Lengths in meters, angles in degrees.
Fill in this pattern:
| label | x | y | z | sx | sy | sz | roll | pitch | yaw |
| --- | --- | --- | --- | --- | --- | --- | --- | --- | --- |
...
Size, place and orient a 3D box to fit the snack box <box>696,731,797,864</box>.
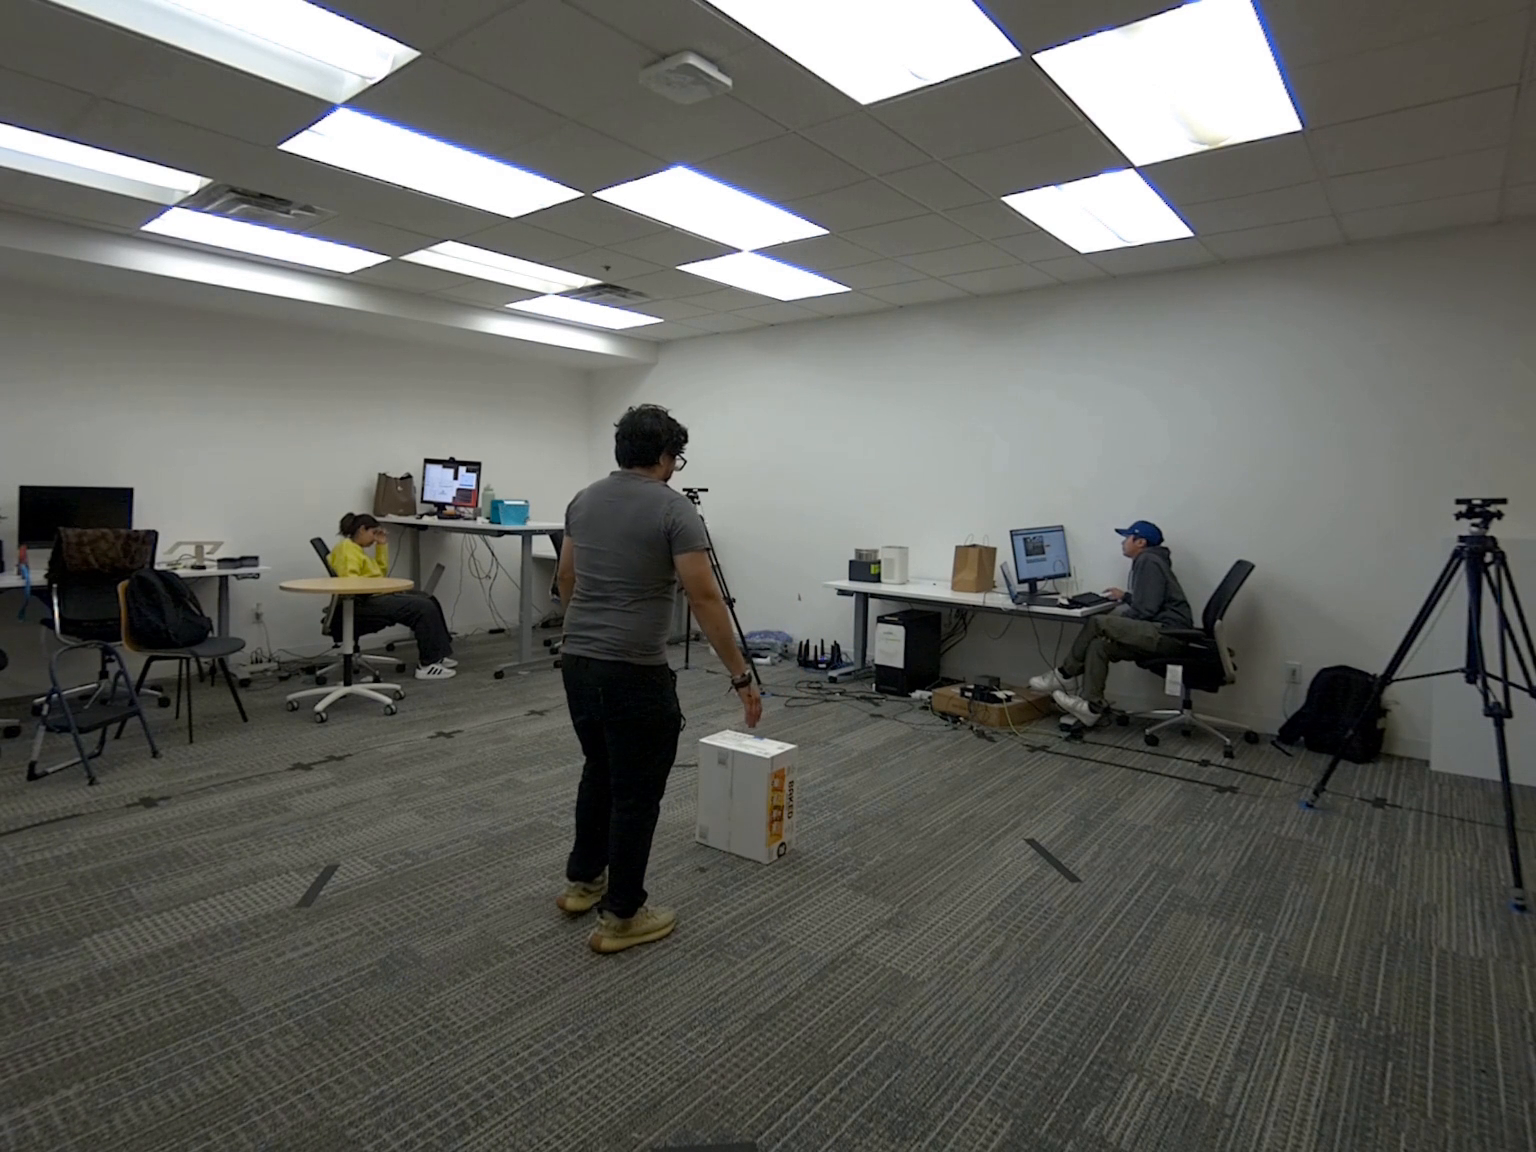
| label | x | y | z | sx | sy | sz | roll | pitch | yaw |
| --- | --- | --- | --- | --- | --- | --- | --- | --- | --- |
| snack box | -0.095 | 0.847 | 3.318 | 0.351 | 0.404 | 0.200 | 4 | 4 | 34 |
